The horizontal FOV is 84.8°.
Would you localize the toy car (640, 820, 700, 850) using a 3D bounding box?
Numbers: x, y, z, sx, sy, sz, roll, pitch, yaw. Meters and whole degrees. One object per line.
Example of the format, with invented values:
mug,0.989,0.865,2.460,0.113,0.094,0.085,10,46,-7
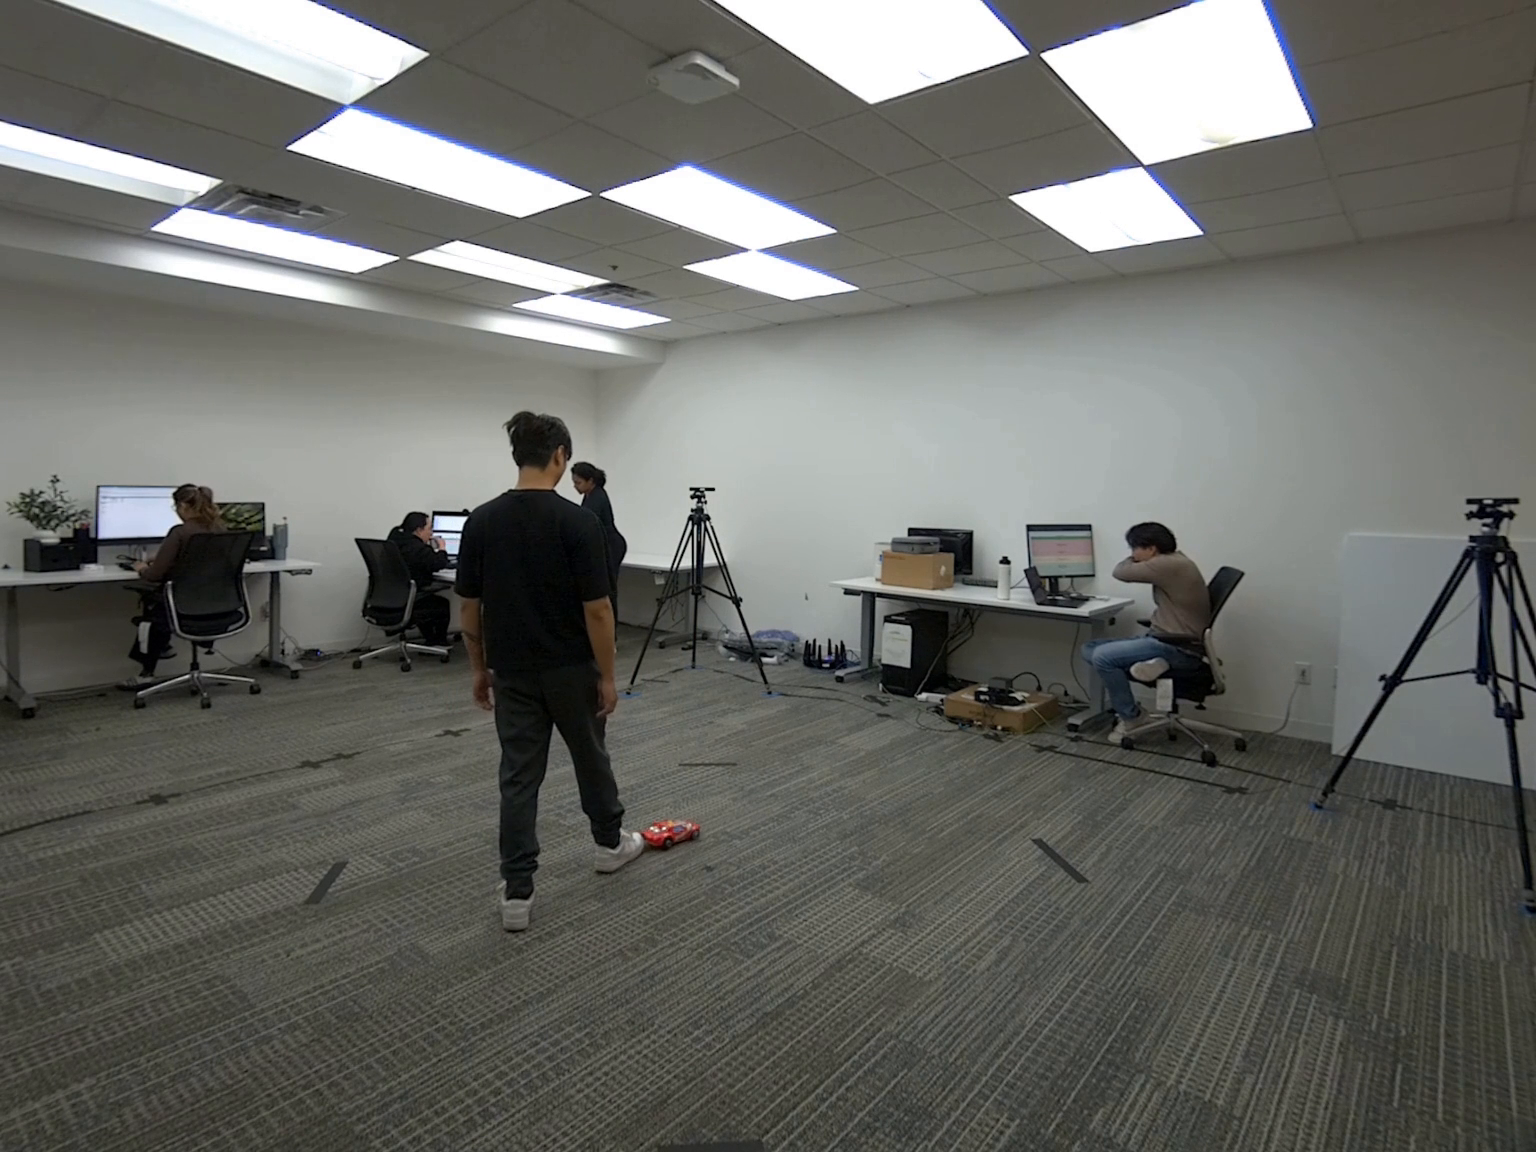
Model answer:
toy car,-0.409,1.006,3.332,0.245,0.083,0.135,12,-4,-43
